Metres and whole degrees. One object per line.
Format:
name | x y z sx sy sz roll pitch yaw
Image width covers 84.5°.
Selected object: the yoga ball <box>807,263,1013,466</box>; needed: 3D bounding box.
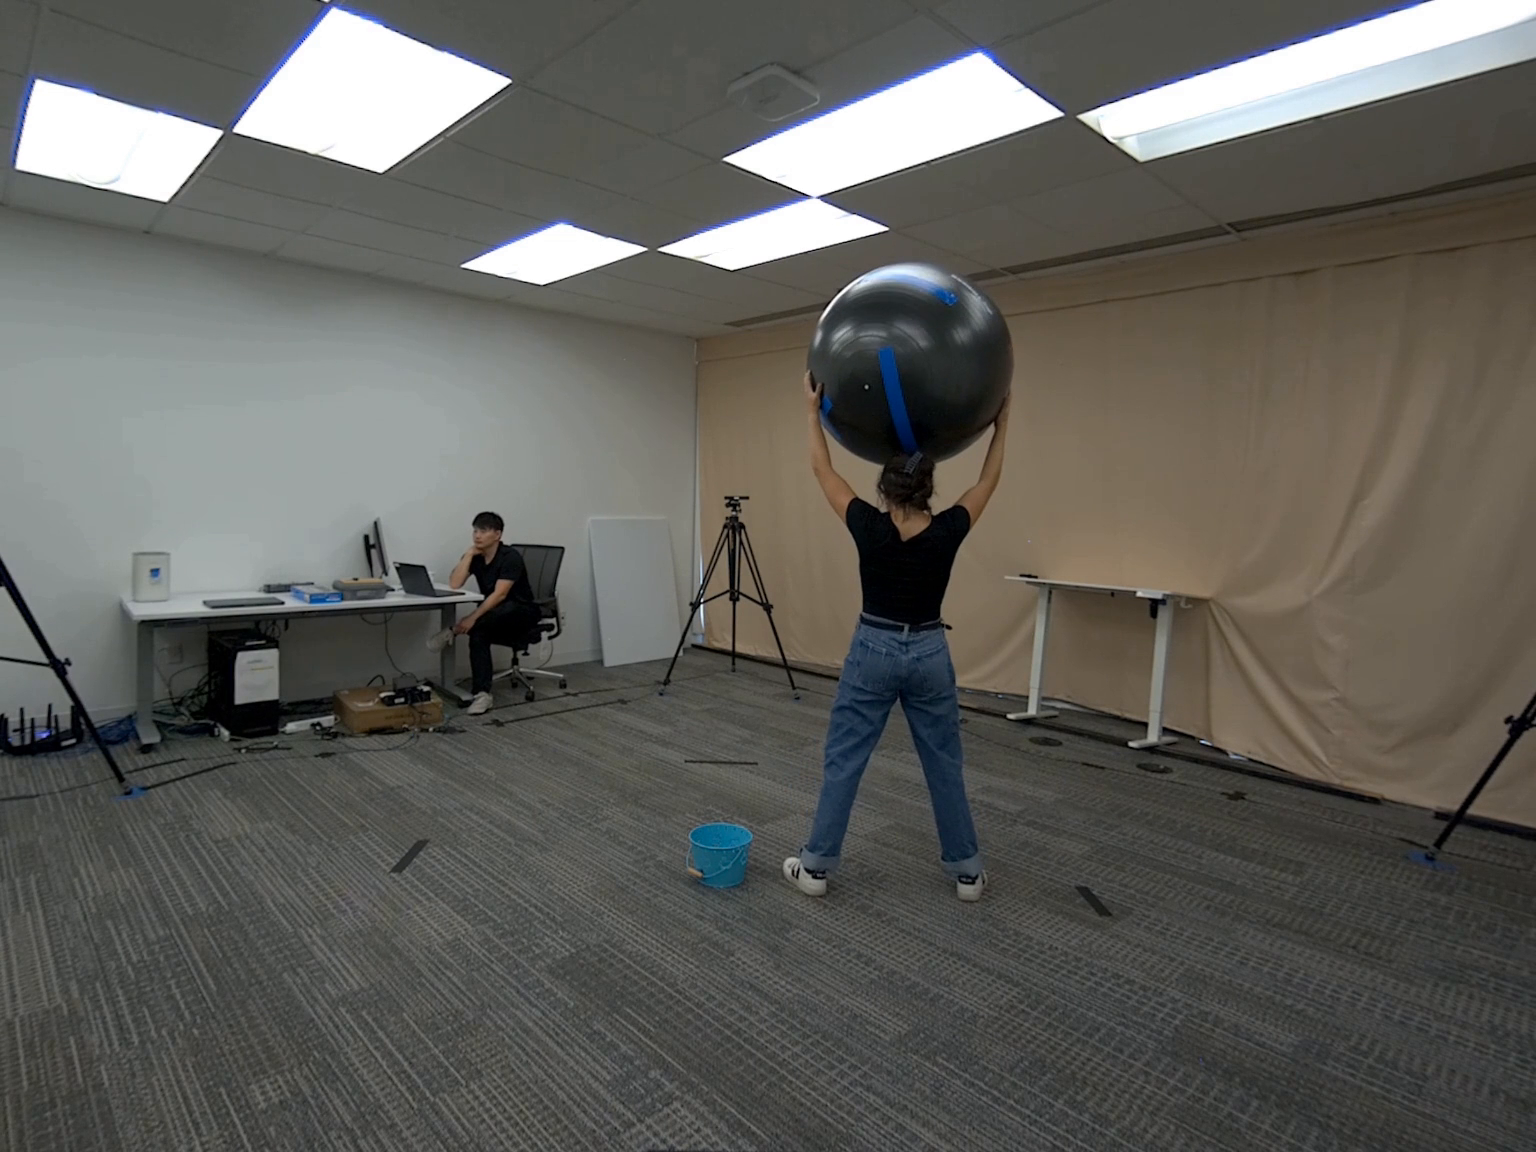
yoga ball | 0.522 -0.777 3.189 0.757 0.756 0.760 1 4 -1
